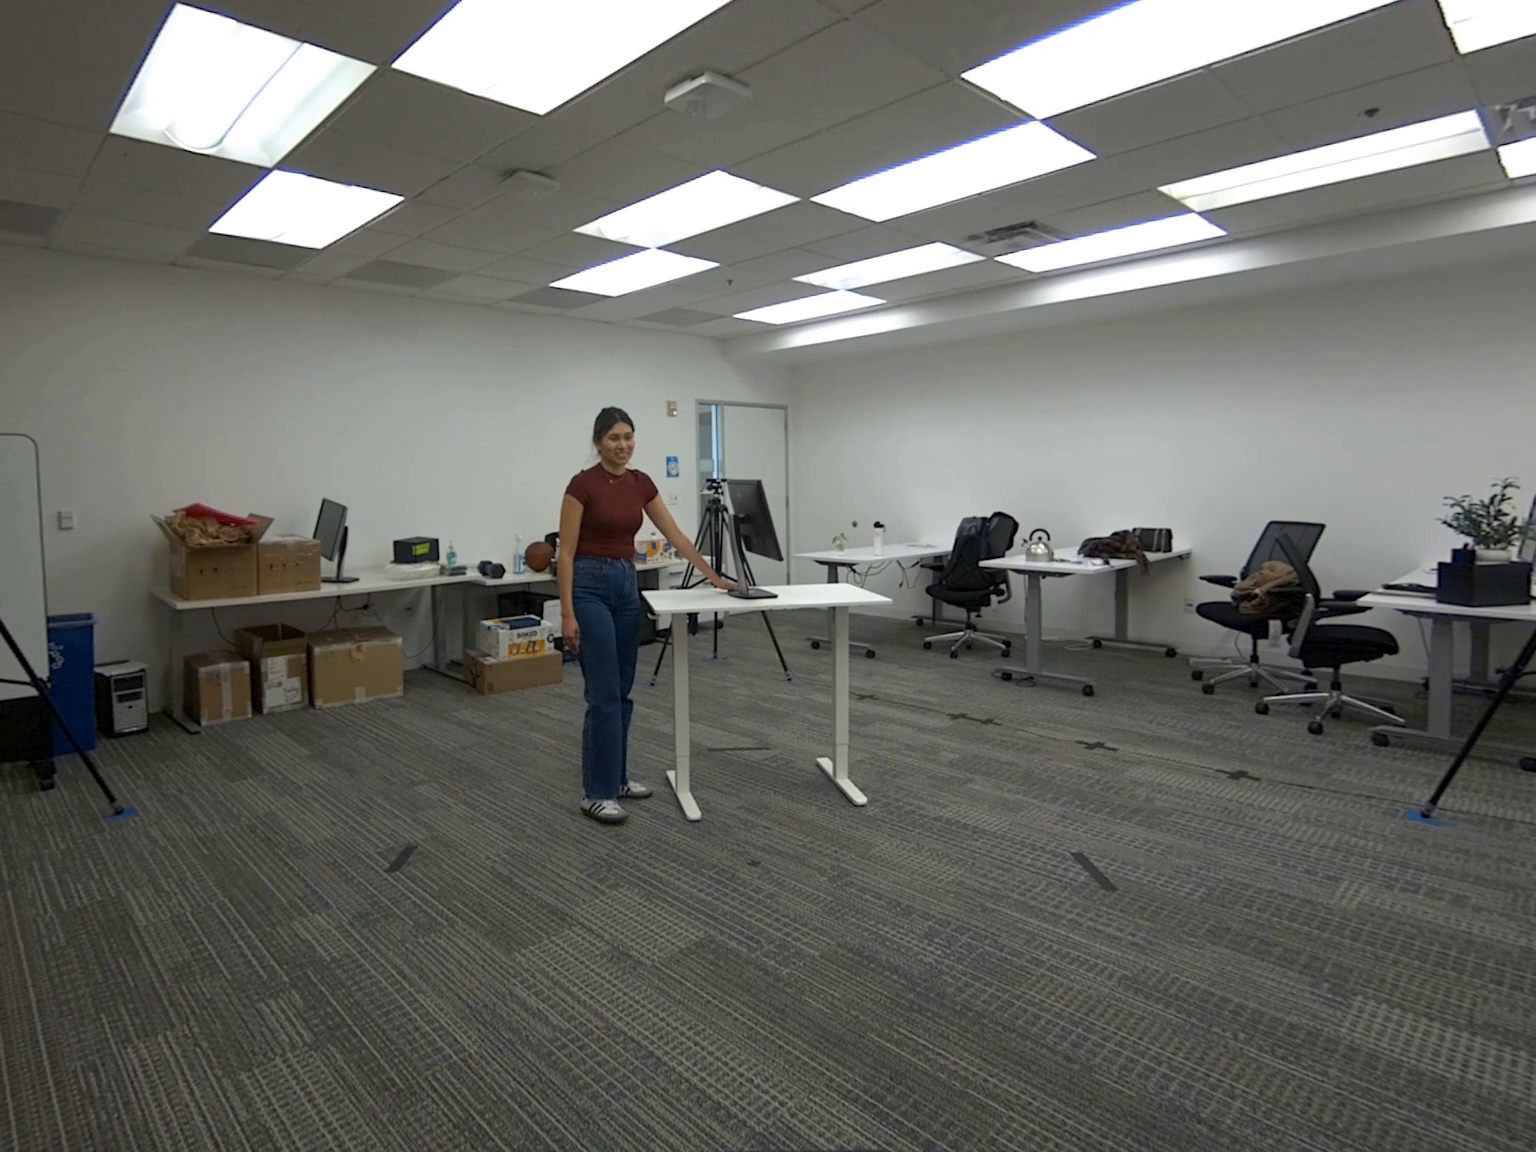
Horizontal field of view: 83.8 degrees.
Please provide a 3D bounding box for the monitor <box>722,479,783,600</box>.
[{"bbox_3d":[-0.098,-0.168,3.782,0.184,0.520,0.550,-4,7,-18],"label":"monitor"}]
